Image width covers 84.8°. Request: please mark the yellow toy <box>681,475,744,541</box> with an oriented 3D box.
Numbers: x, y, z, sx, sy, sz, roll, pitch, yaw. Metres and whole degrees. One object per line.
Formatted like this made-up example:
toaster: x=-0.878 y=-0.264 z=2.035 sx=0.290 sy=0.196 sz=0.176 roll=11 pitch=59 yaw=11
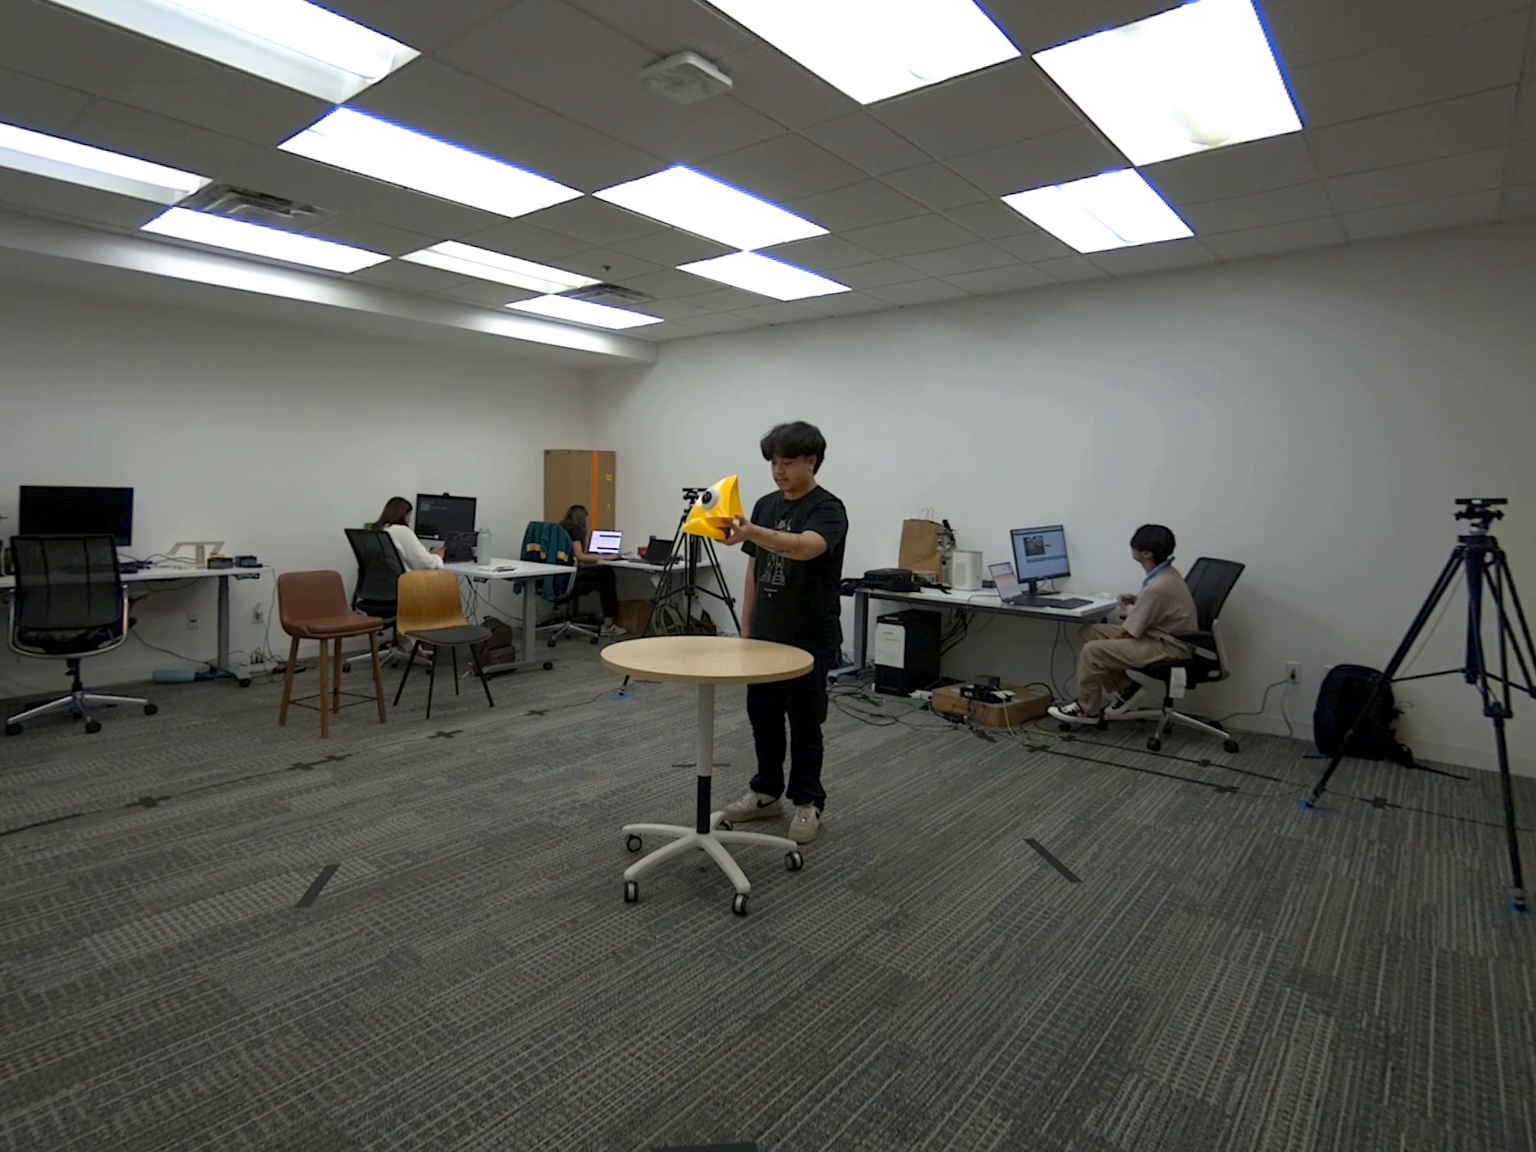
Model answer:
yellow toy: x=-0.193 y=-0.252 z=2.982 sx=0.197 sy=0.230 sz=0.201 roll=11 pitch=3 yaw=15
